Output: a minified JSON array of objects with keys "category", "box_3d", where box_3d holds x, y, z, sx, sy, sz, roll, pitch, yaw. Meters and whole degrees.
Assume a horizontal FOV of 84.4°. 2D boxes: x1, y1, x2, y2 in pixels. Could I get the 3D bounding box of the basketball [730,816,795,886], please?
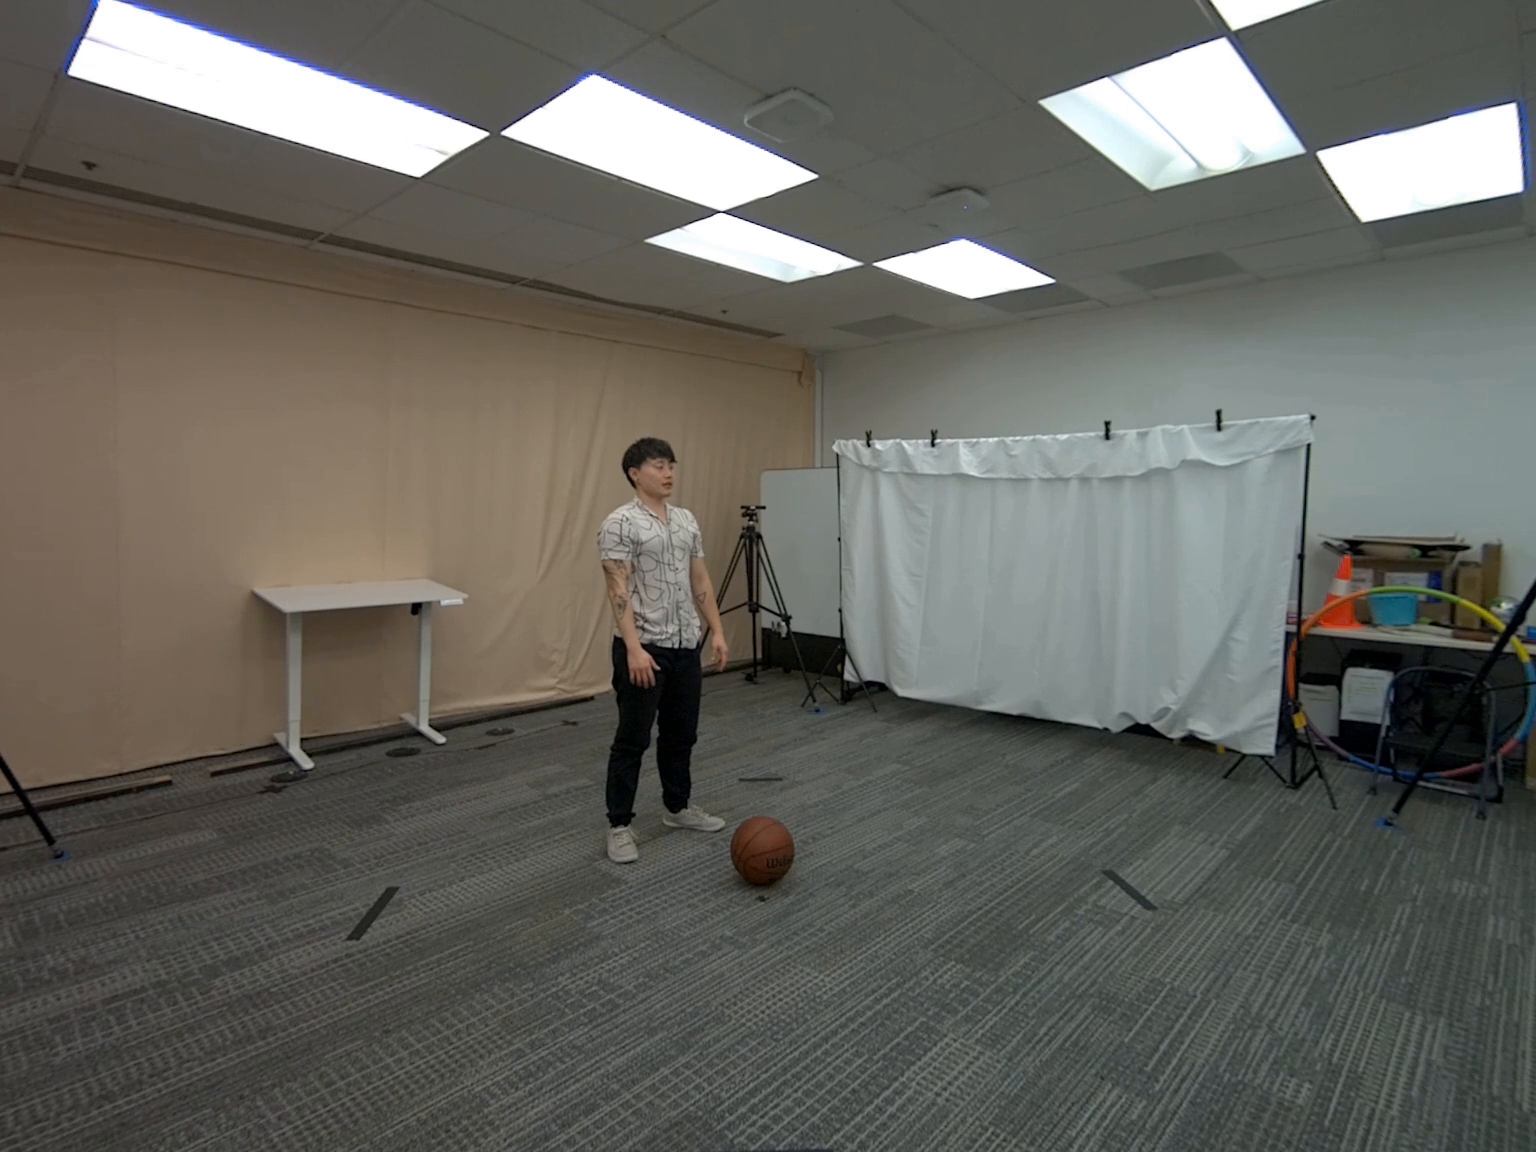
[{"category":"basketball","box_3d":[-0.020,1.011,3.113,0.236,0.235,0.237,0,4,-2]}]
